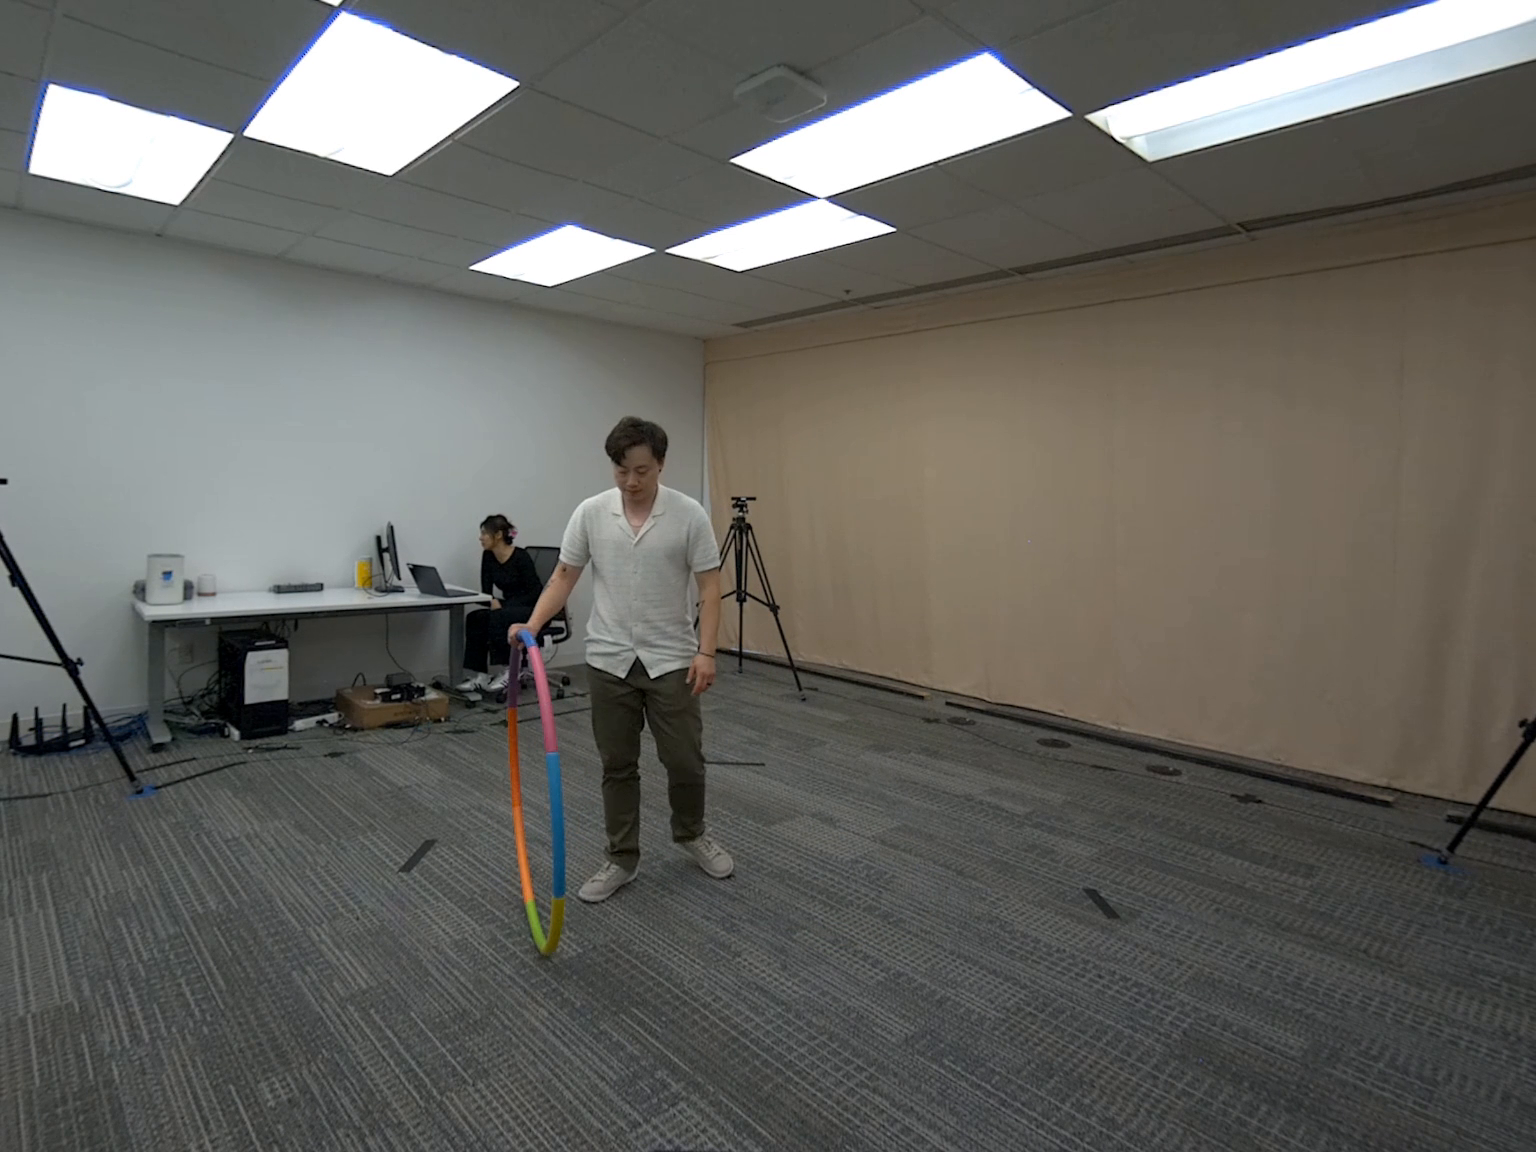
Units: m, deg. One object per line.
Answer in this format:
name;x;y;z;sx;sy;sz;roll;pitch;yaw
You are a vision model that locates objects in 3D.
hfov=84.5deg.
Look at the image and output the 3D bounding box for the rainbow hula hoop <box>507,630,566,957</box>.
rainbow hula hoop;-0.735;0.652;2.622;0.035;0.975;0.997;-2;5;-22
